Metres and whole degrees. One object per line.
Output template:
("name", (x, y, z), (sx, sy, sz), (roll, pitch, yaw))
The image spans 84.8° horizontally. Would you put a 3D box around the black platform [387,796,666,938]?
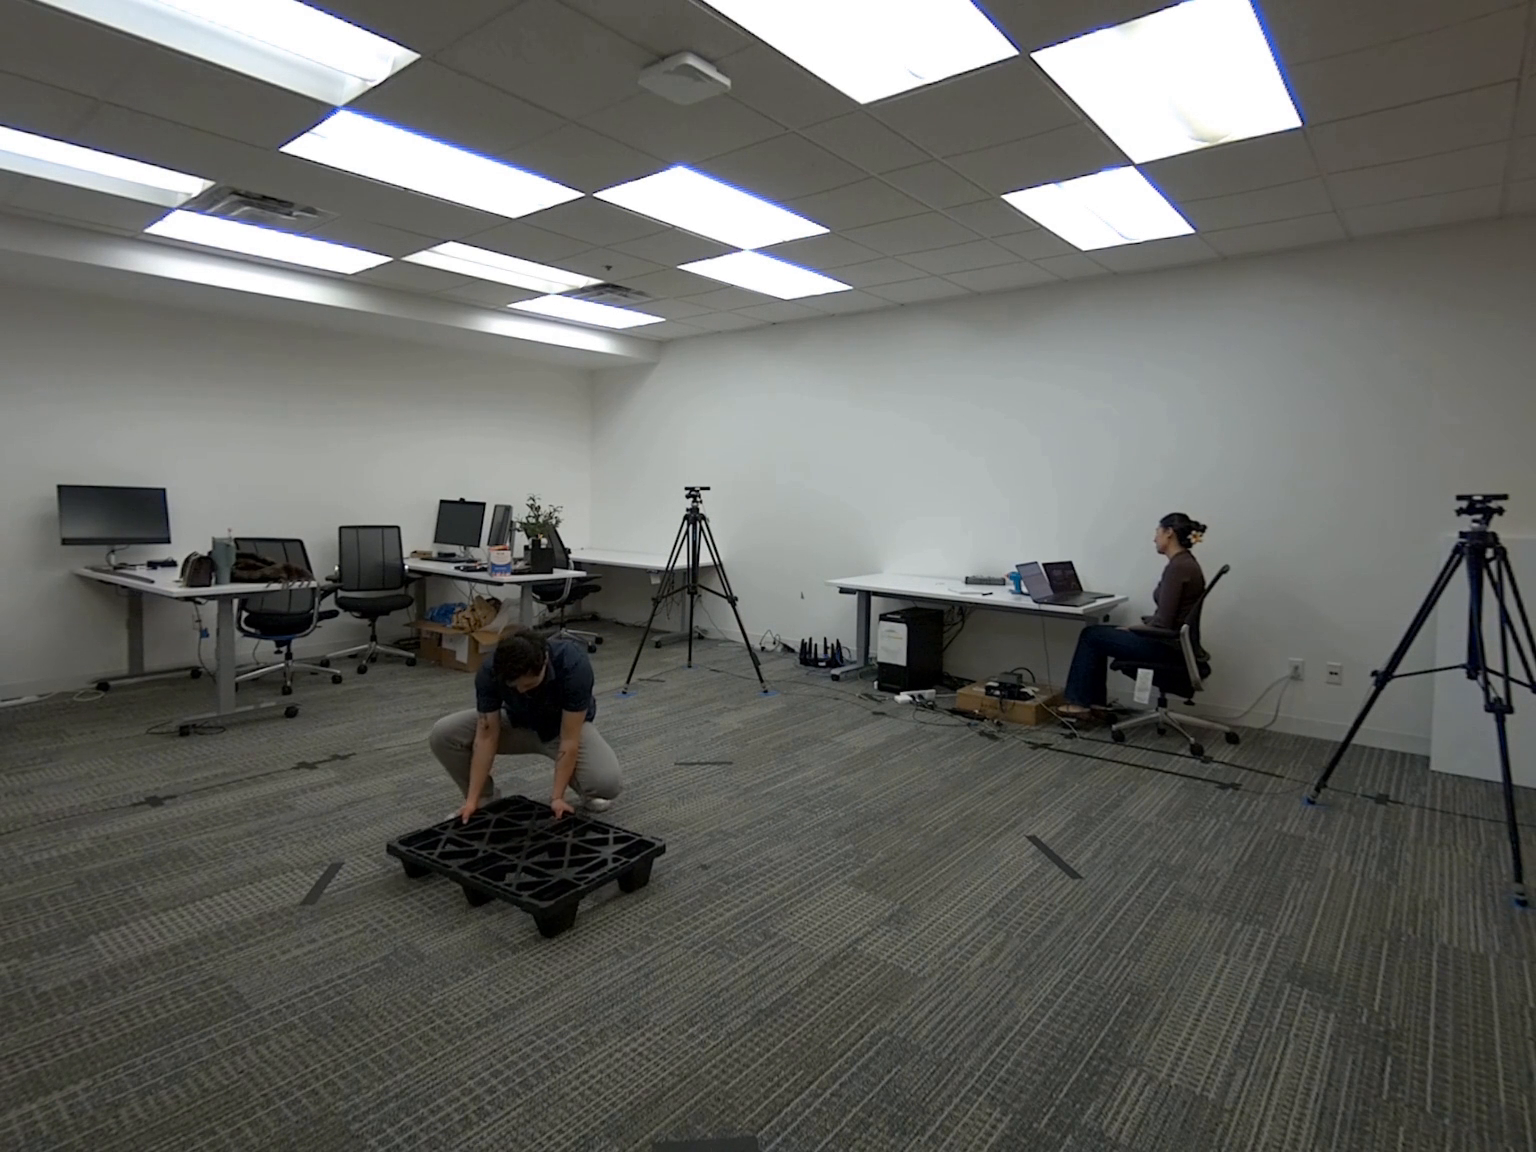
("black platform", (-0.861, 1.003, 2.987), (0.831, 0.143, 0.589), (4, 7, 33))
